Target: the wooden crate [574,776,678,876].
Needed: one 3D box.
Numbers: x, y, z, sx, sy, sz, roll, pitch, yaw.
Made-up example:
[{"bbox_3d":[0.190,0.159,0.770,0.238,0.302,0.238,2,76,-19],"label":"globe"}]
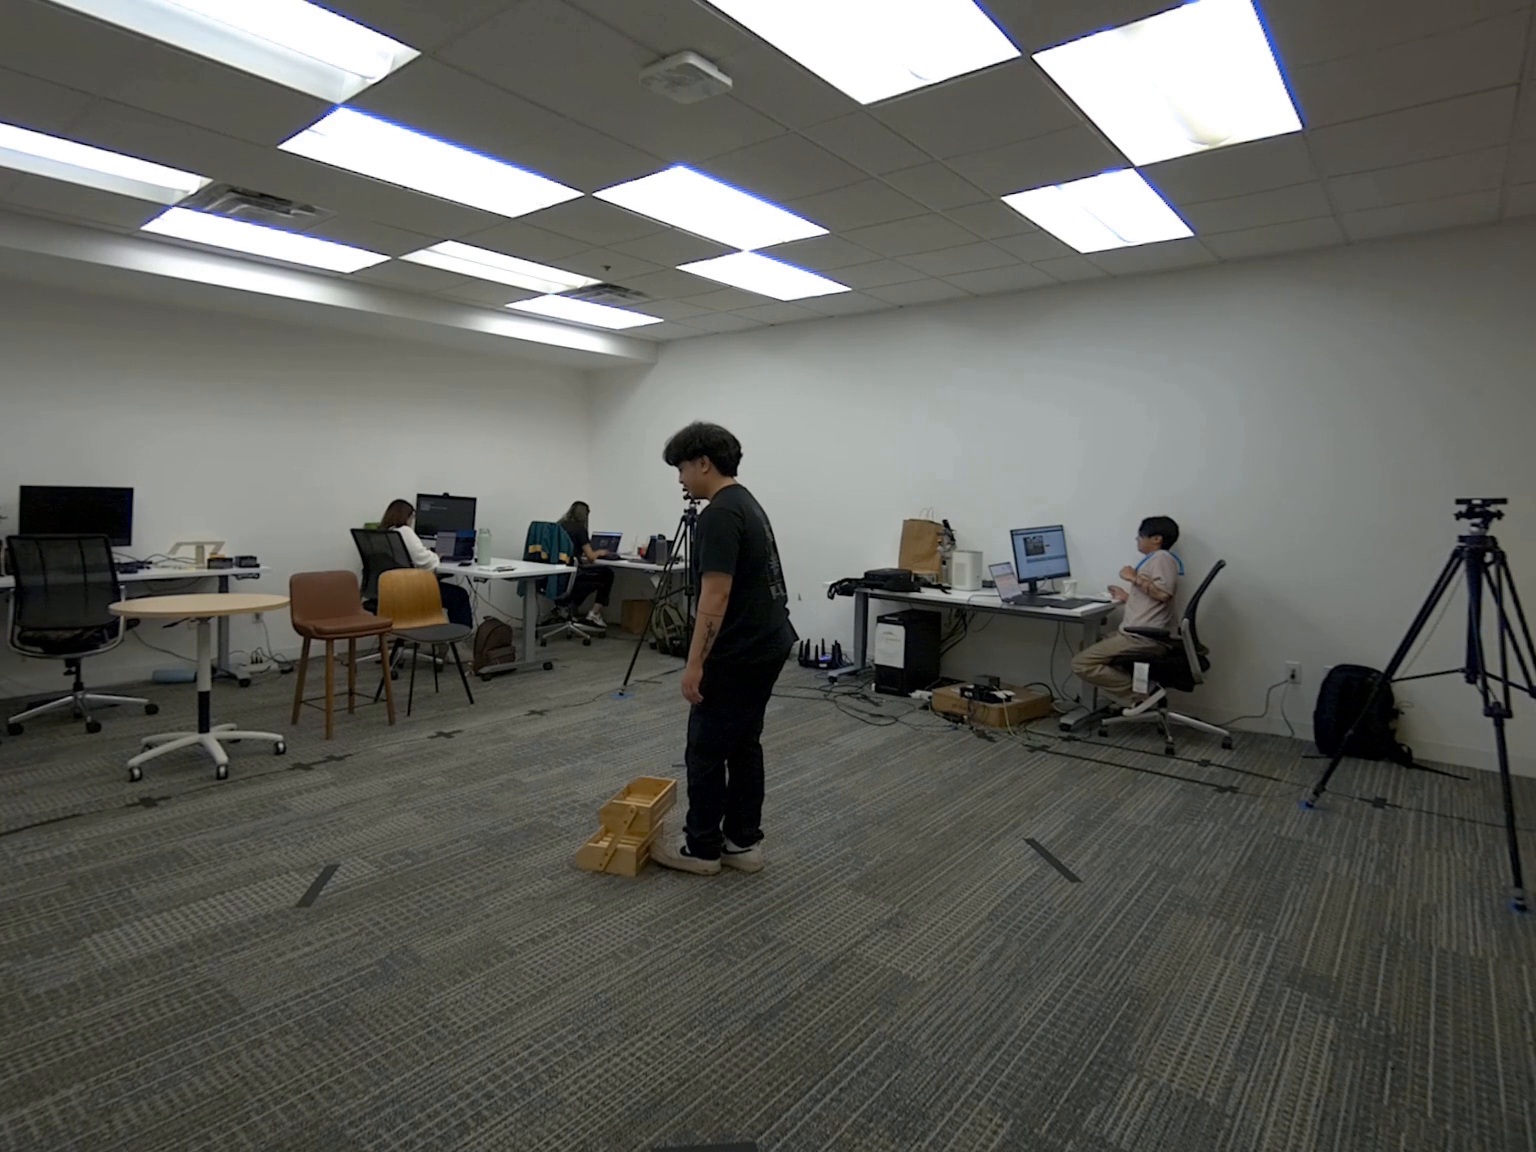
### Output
[{"bbox_3d":[-0.550,0.923,3.205,0.307,0.272,0.321,2,5,13],"label":"wooden crate"}]
